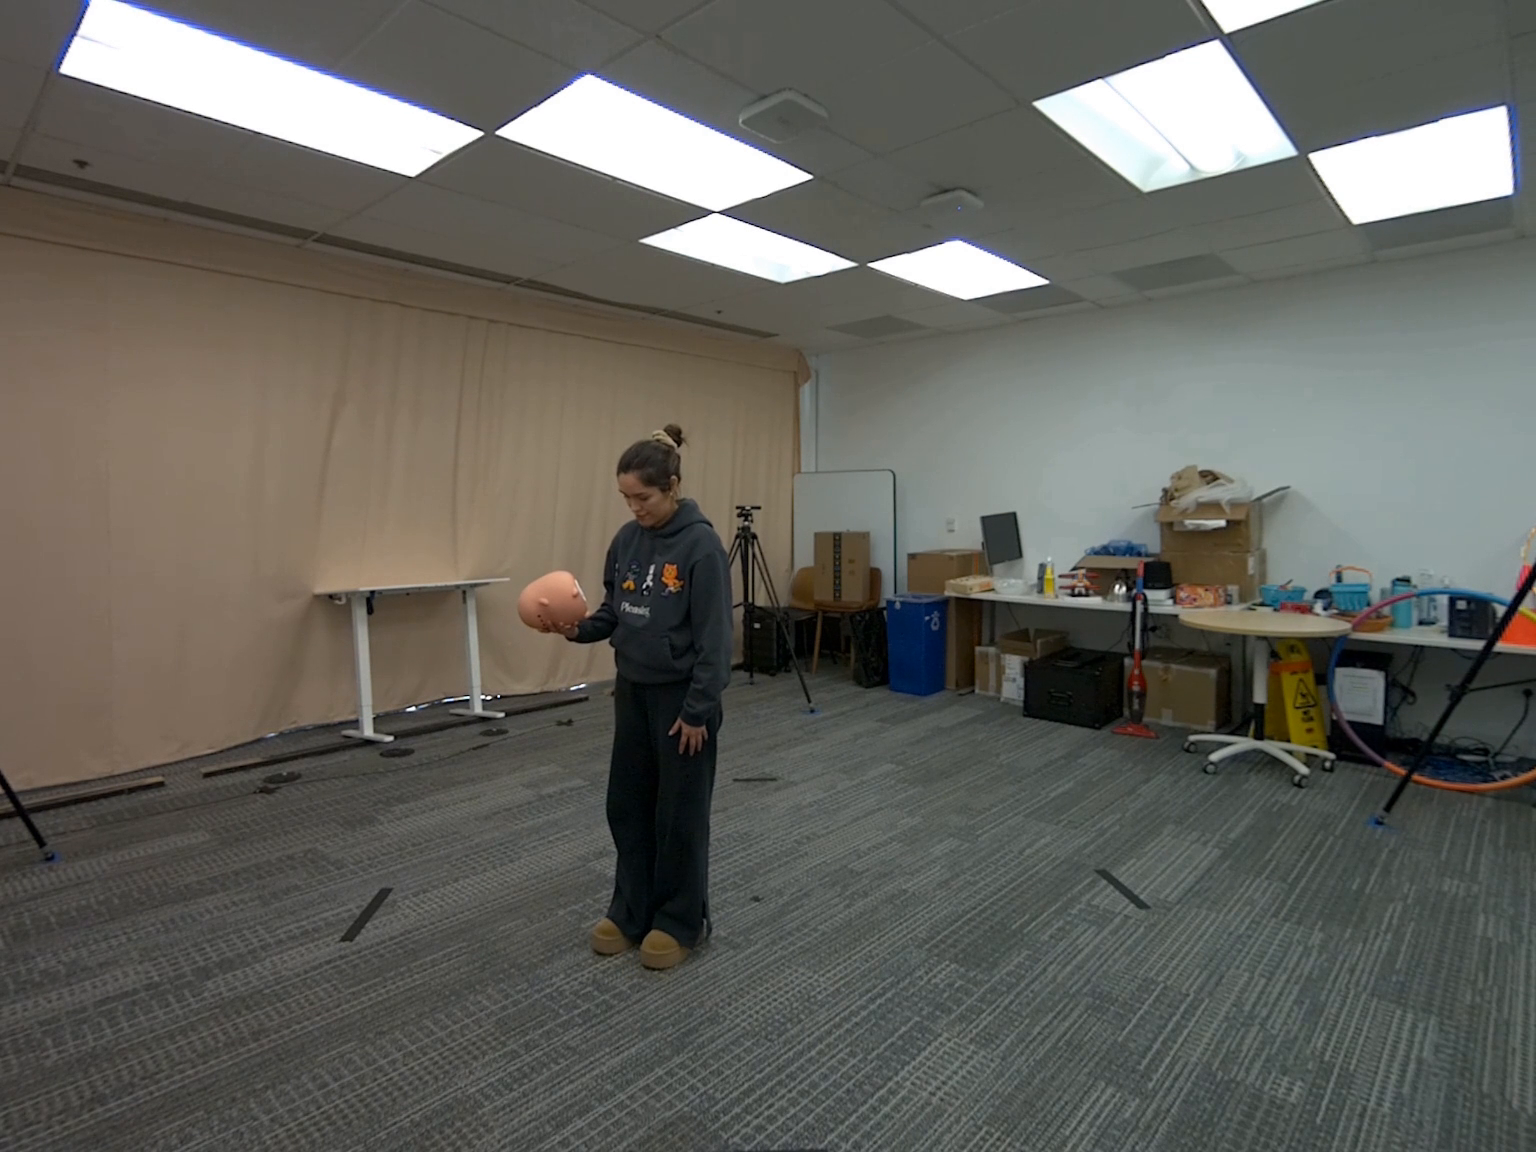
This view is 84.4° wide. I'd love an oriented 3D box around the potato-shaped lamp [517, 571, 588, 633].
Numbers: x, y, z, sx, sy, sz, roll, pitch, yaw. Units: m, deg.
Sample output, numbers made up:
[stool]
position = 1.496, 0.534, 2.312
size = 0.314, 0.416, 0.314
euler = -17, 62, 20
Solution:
[potato-shaped lamp]
position = -0.644, 0.088, 2.534
size = 0.196, 0.160, 0.177
euler = -26, 47, -11
